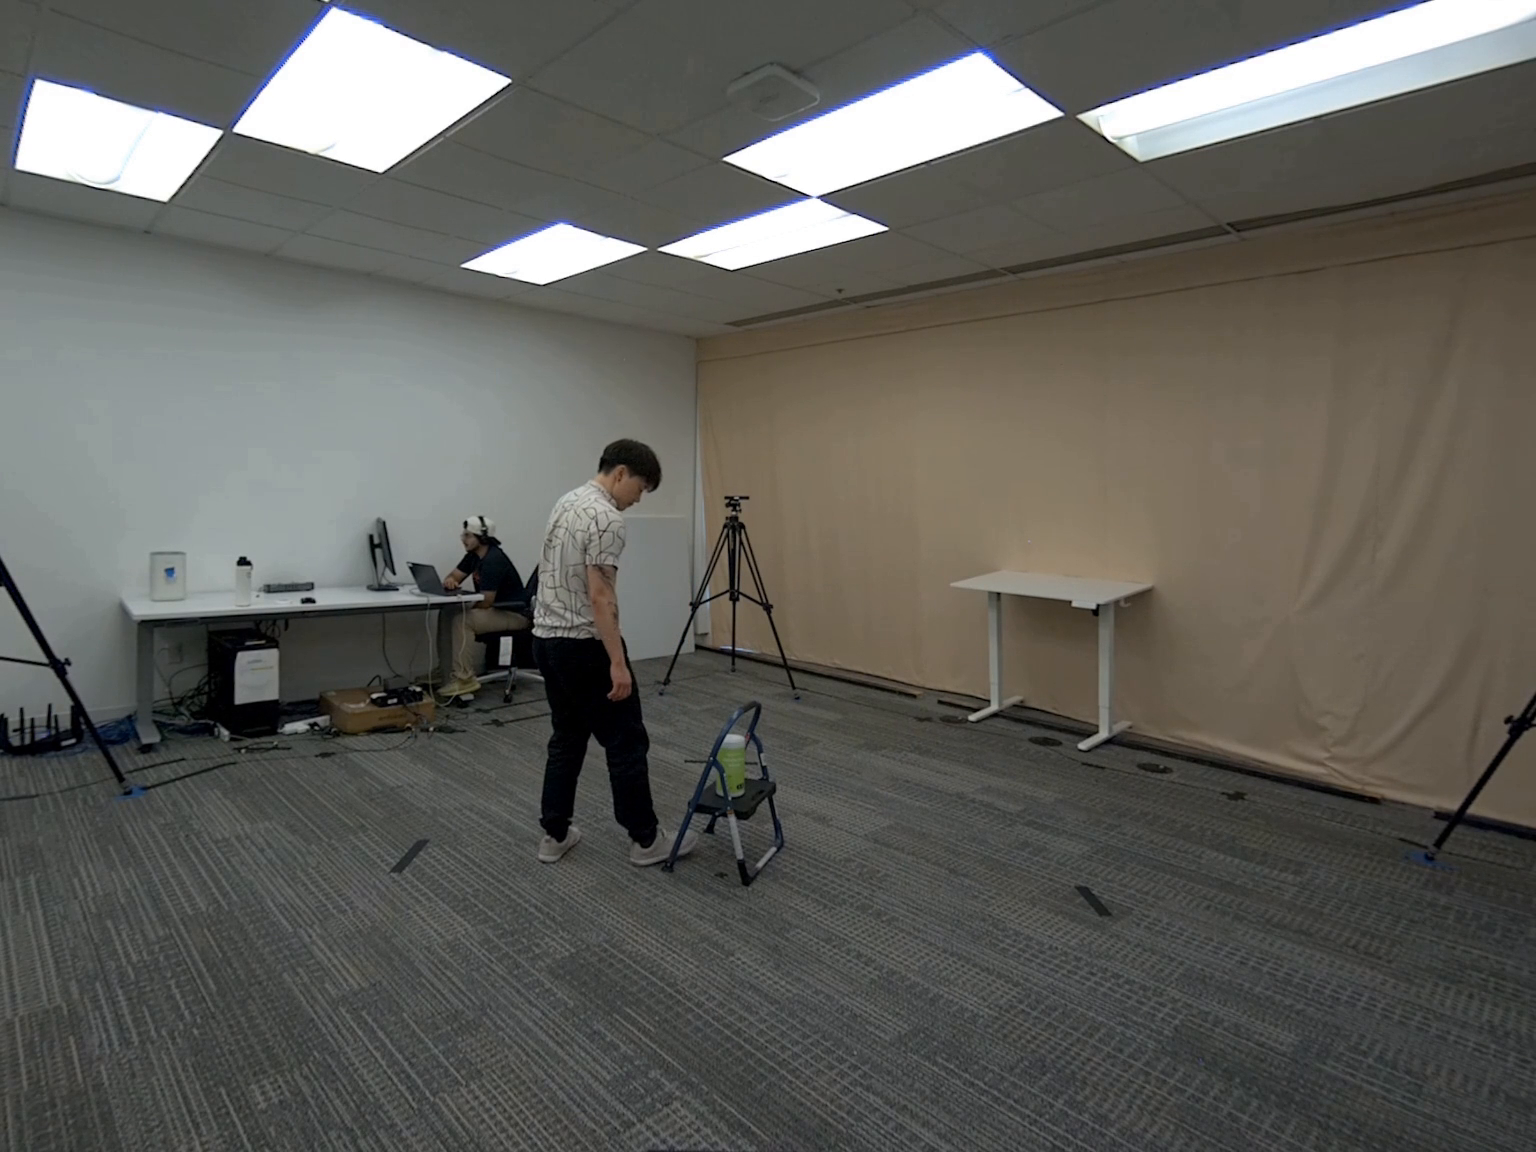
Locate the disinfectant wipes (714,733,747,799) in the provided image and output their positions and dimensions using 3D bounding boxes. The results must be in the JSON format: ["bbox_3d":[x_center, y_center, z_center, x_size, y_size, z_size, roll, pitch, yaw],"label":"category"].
[{"bbox_3d":[-0.150,0.731,3.222,0.118,0.217,0.118,1,-1,-1],"label":"disinfectant wipes"}]
